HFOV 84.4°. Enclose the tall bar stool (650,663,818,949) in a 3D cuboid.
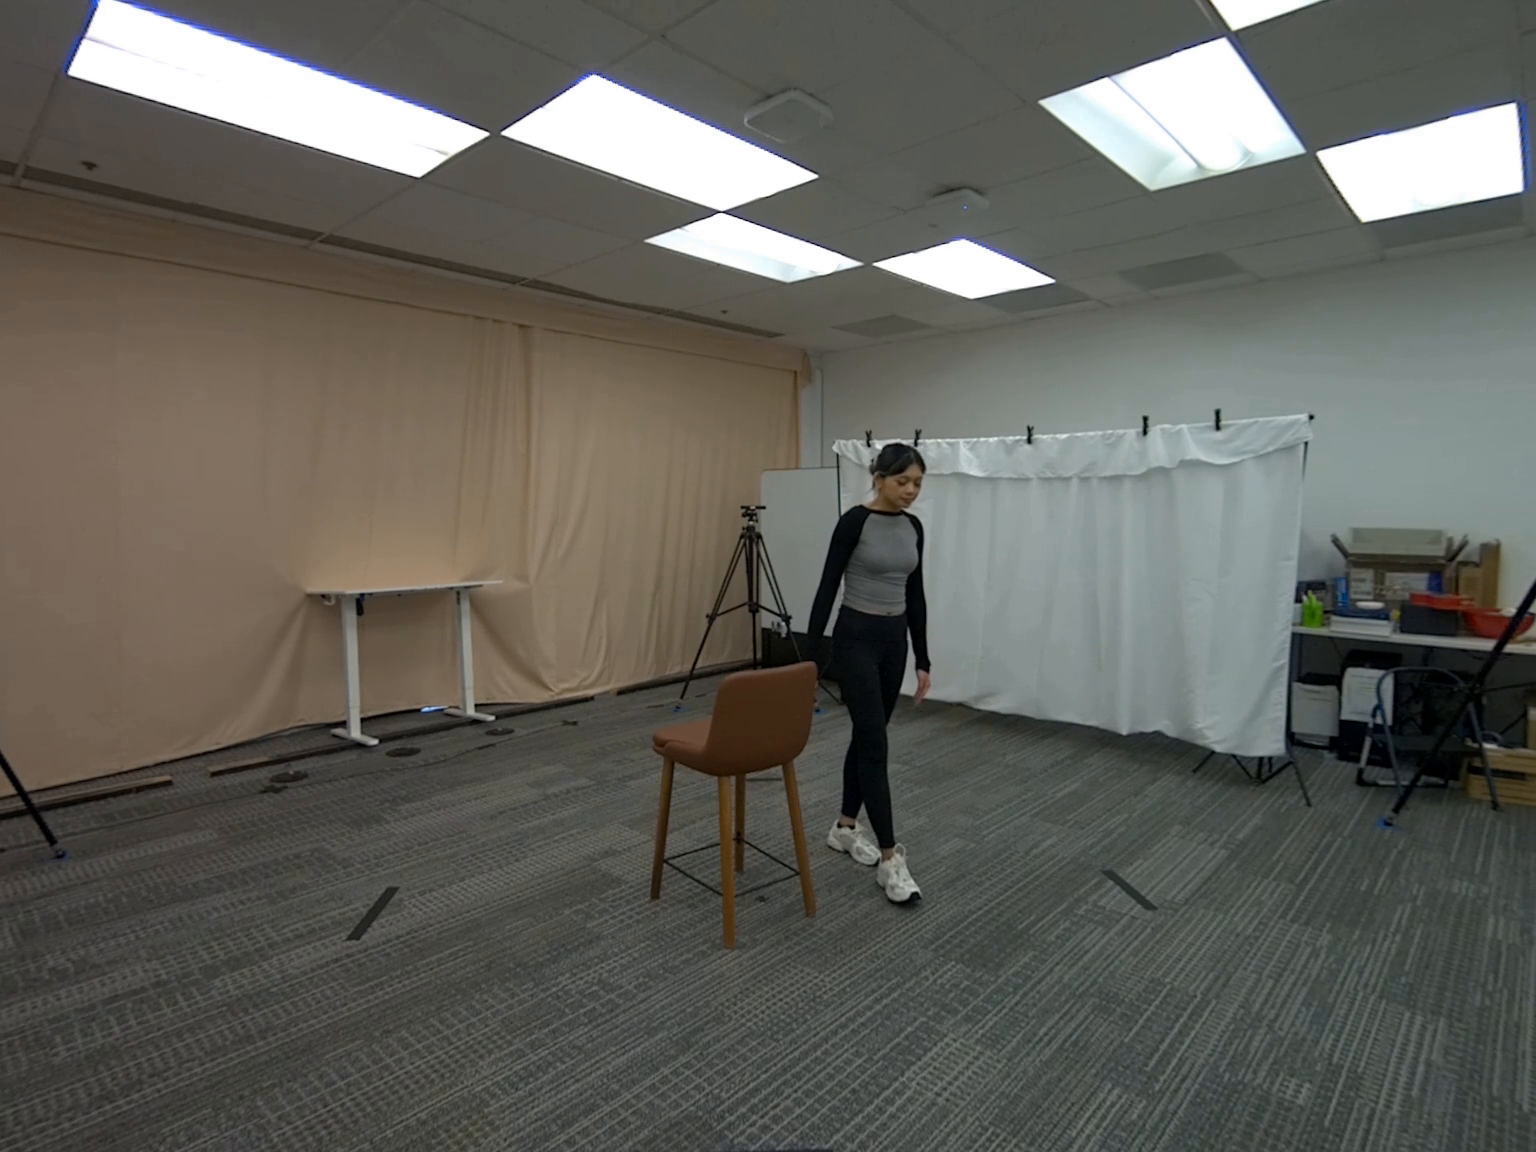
[{"bbox_3d":[-0.117,0.715,2.902,0.443,0.887,0.483,-3,6,-38],"label":"tall bar stool"}]
